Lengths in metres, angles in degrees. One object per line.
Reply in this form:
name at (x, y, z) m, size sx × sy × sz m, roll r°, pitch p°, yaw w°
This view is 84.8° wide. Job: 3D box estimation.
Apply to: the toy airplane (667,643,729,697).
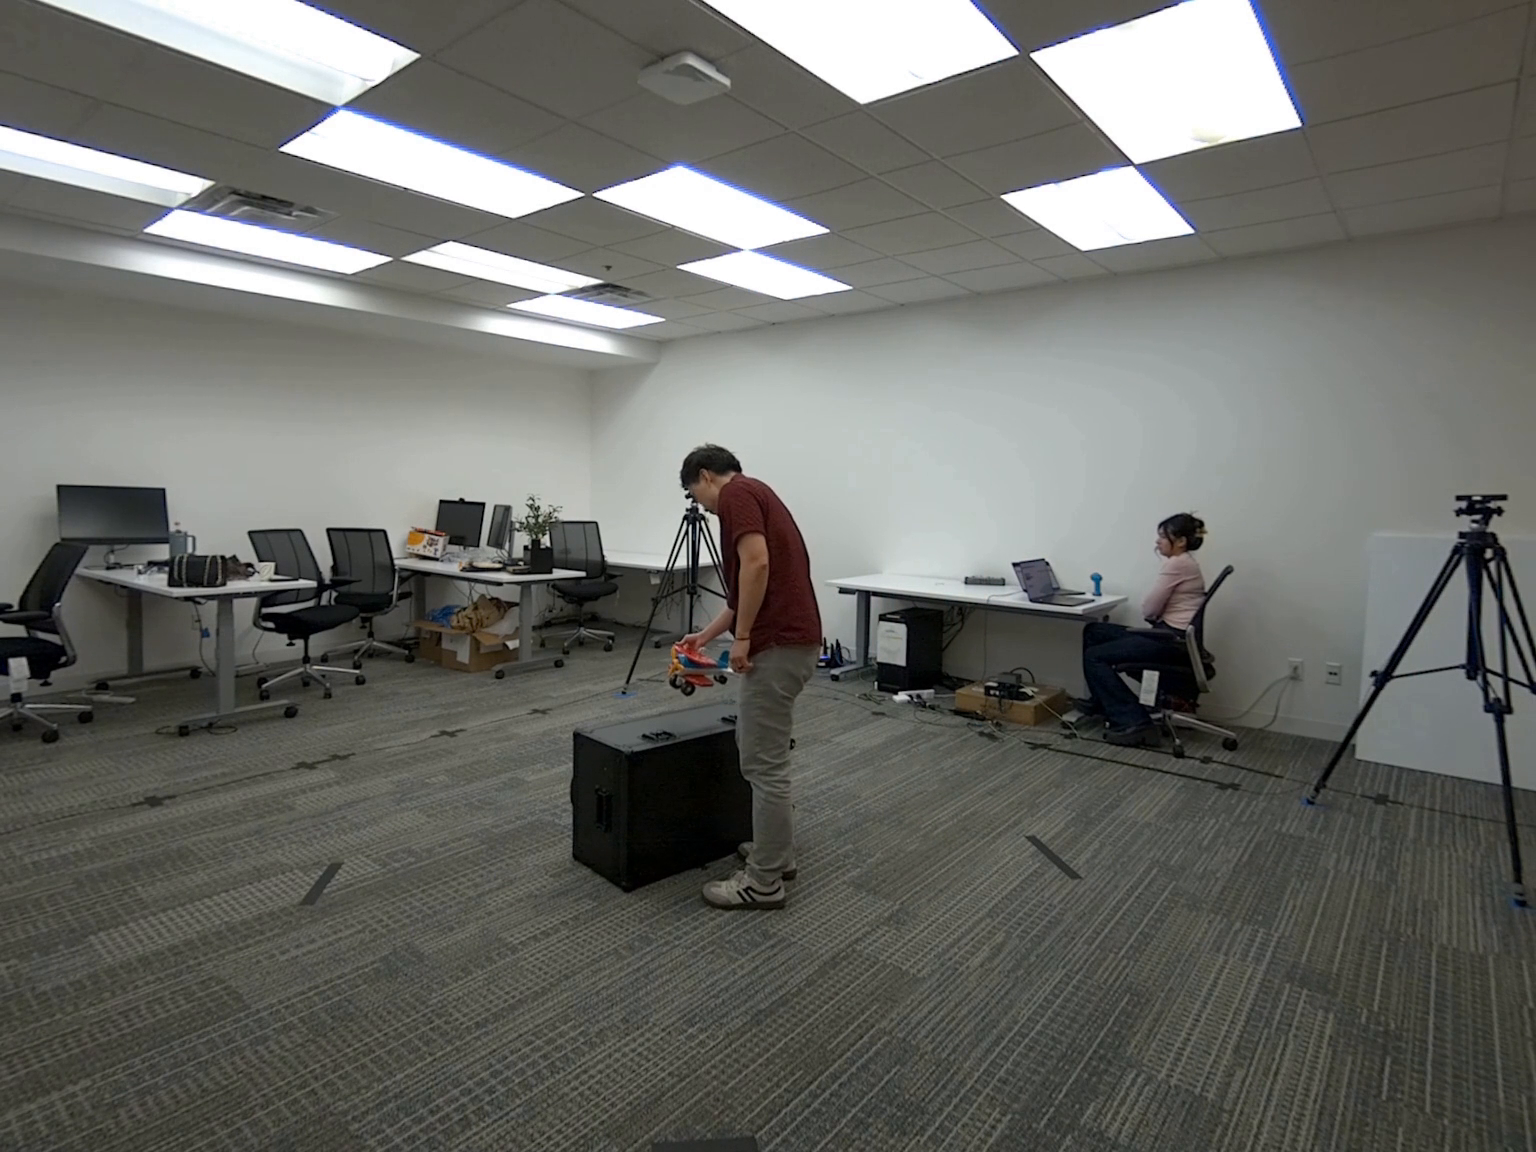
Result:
toy airplane at (-0.281, 0.352, 3.314) m, size 0.259 × 0.154 × 0.255 m, roll 6°, pitch 15°, yaw 29°
